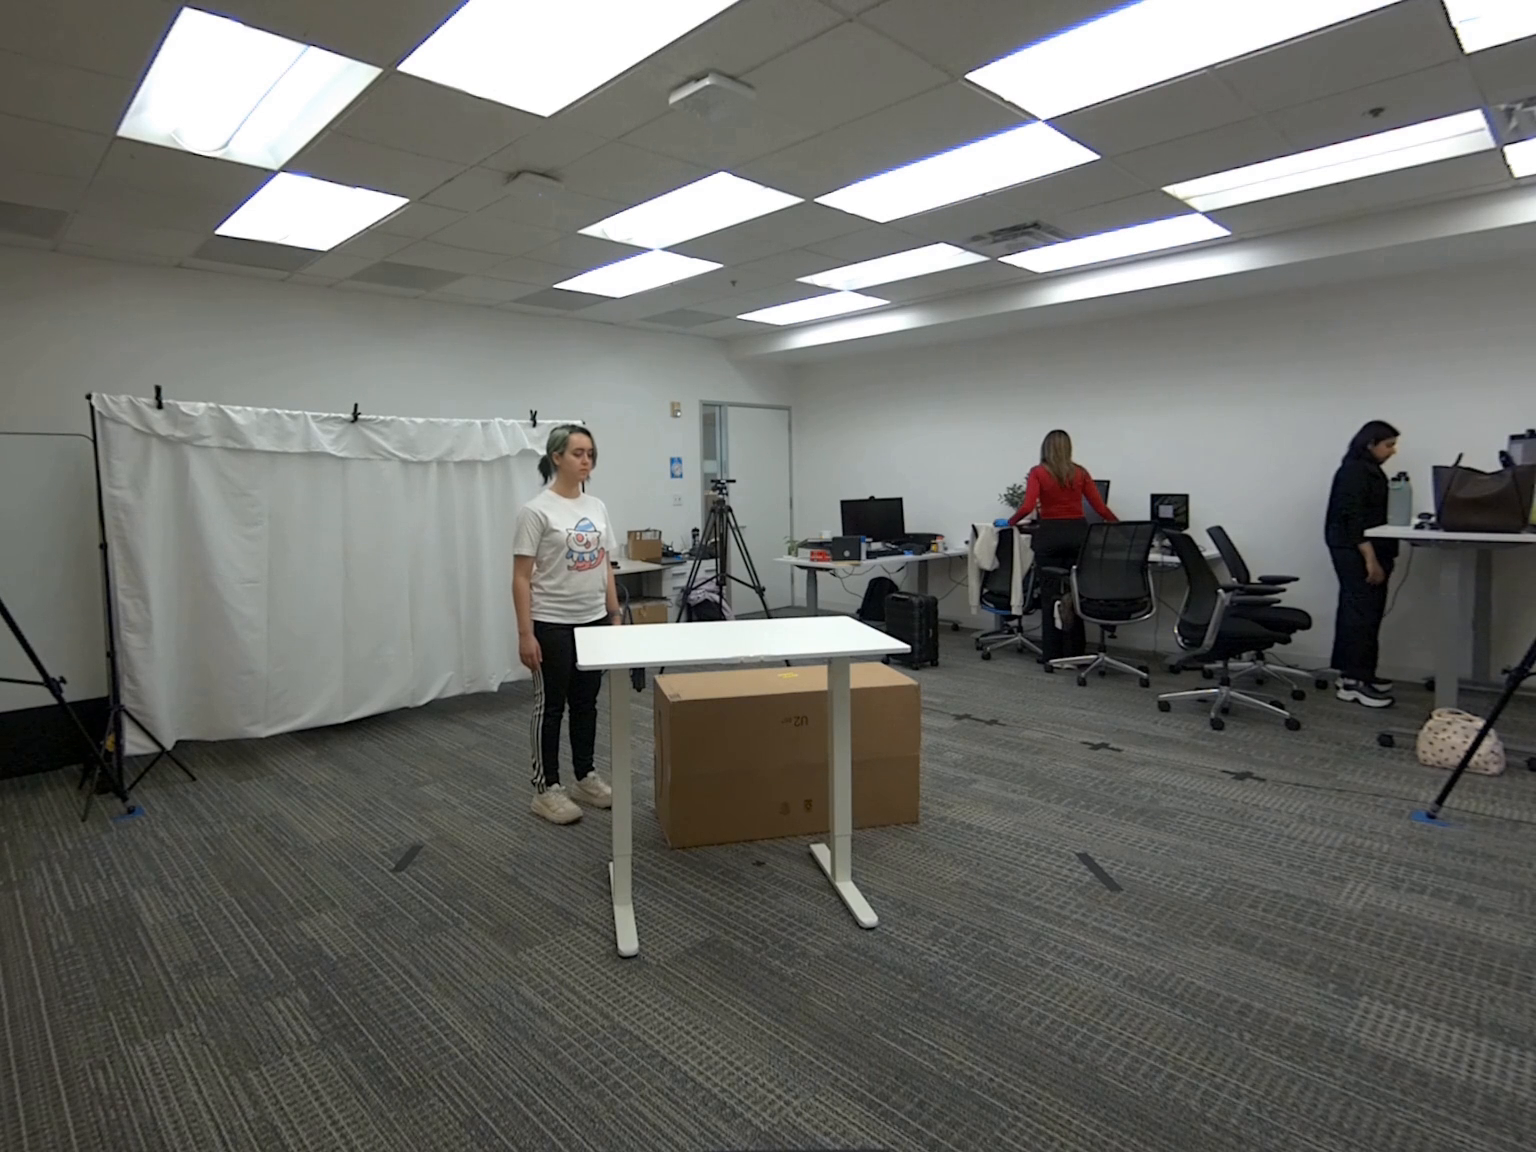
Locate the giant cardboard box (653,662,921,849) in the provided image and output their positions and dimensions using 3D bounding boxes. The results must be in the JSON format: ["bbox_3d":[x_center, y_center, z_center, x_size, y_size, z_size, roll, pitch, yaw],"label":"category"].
[{"bbox_3d":[0.065,0.707,3.531,1.014,0.582,0.454,-2,5,-14],"label":"giant cardboard box"}]
